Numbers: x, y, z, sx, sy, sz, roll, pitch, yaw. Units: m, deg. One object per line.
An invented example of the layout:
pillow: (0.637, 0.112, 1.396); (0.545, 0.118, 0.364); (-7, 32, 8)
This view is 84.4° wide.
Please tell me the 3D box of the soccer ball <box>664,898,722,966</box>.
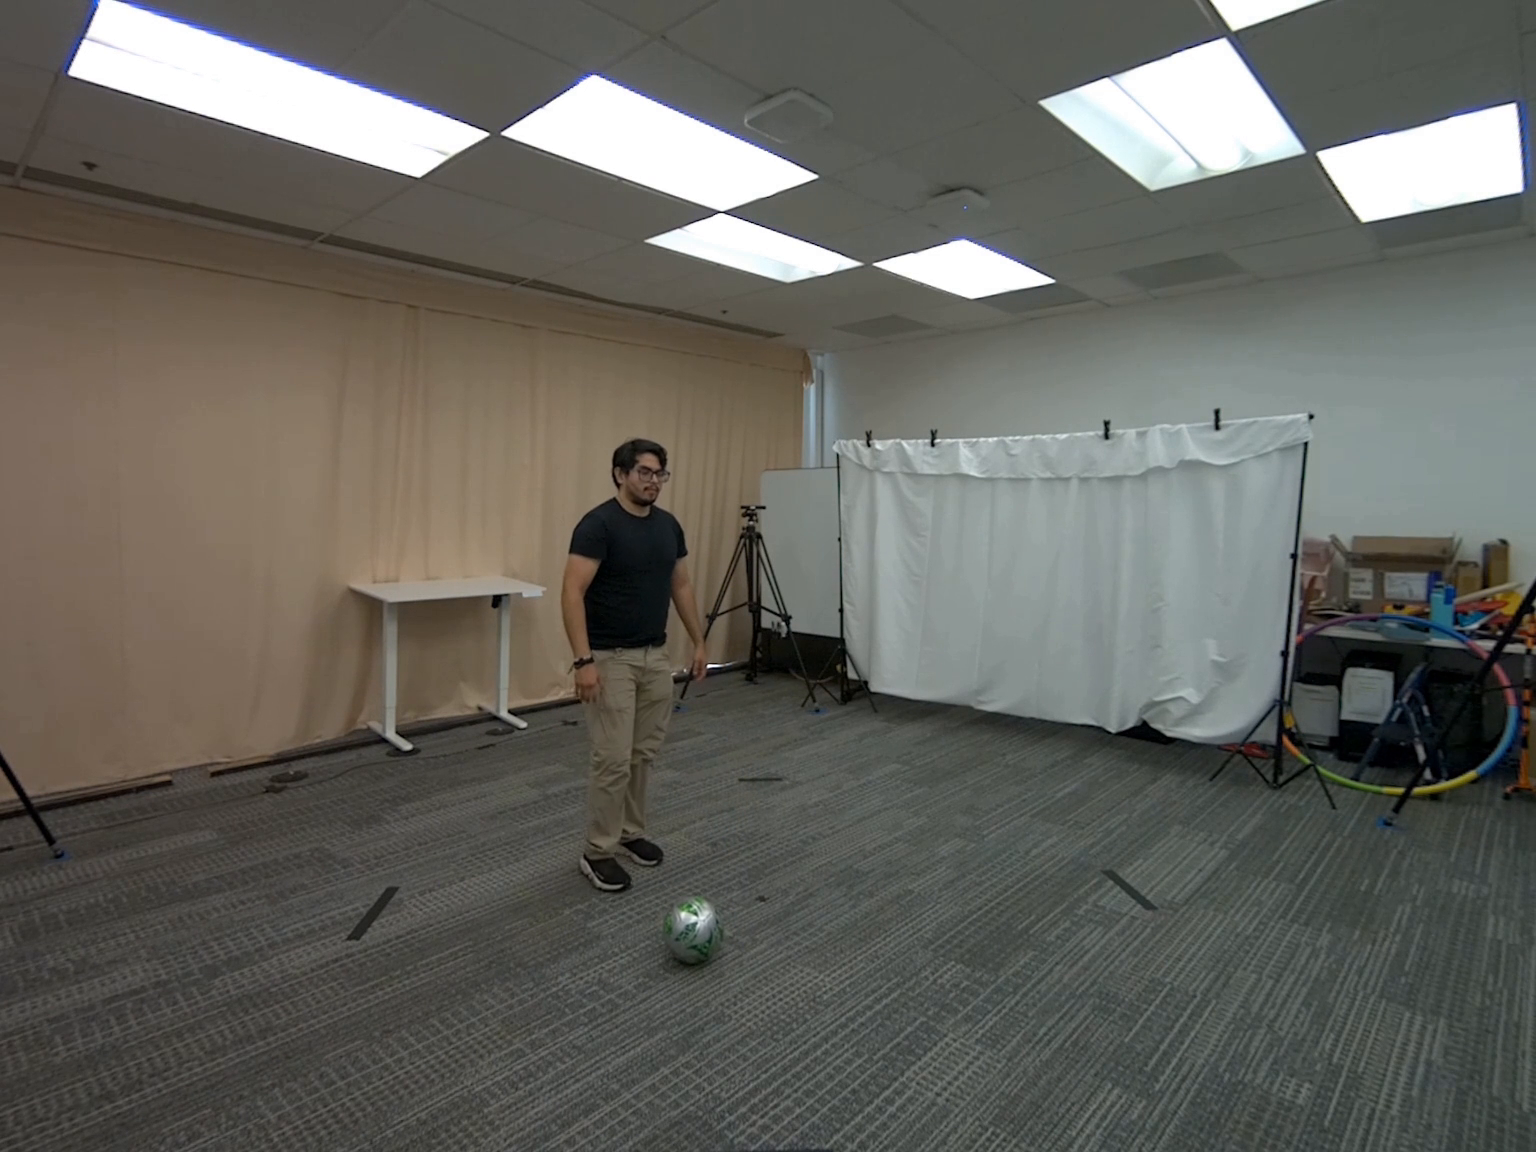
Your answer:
soccer ball: (-0.224, 1.090, 2.580); (0.187, 0.187, 0.188); (0, 4, -2)
